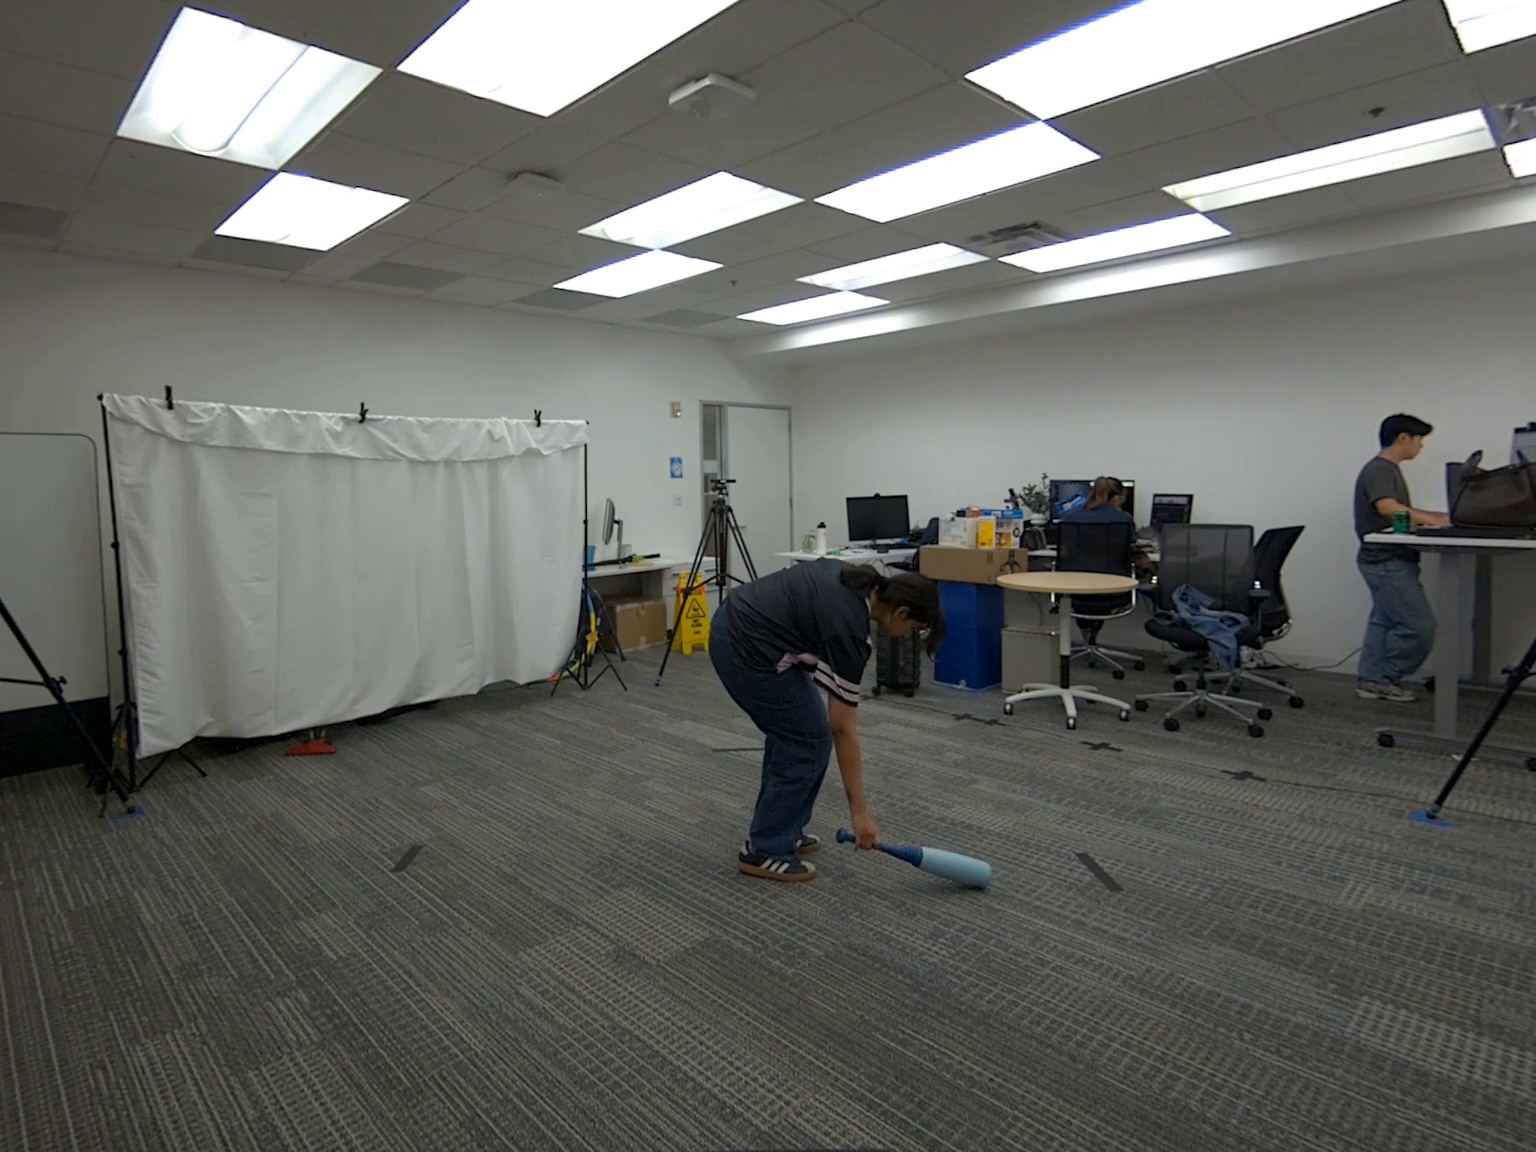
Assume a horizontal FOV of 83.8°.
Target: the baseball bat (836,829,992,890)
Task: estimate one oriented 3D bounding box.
[{"bbox_3d":[0.494,0.946,2.884,0.540,0.089,0.090,16,3,-5],"label":"baseball bat"}]
